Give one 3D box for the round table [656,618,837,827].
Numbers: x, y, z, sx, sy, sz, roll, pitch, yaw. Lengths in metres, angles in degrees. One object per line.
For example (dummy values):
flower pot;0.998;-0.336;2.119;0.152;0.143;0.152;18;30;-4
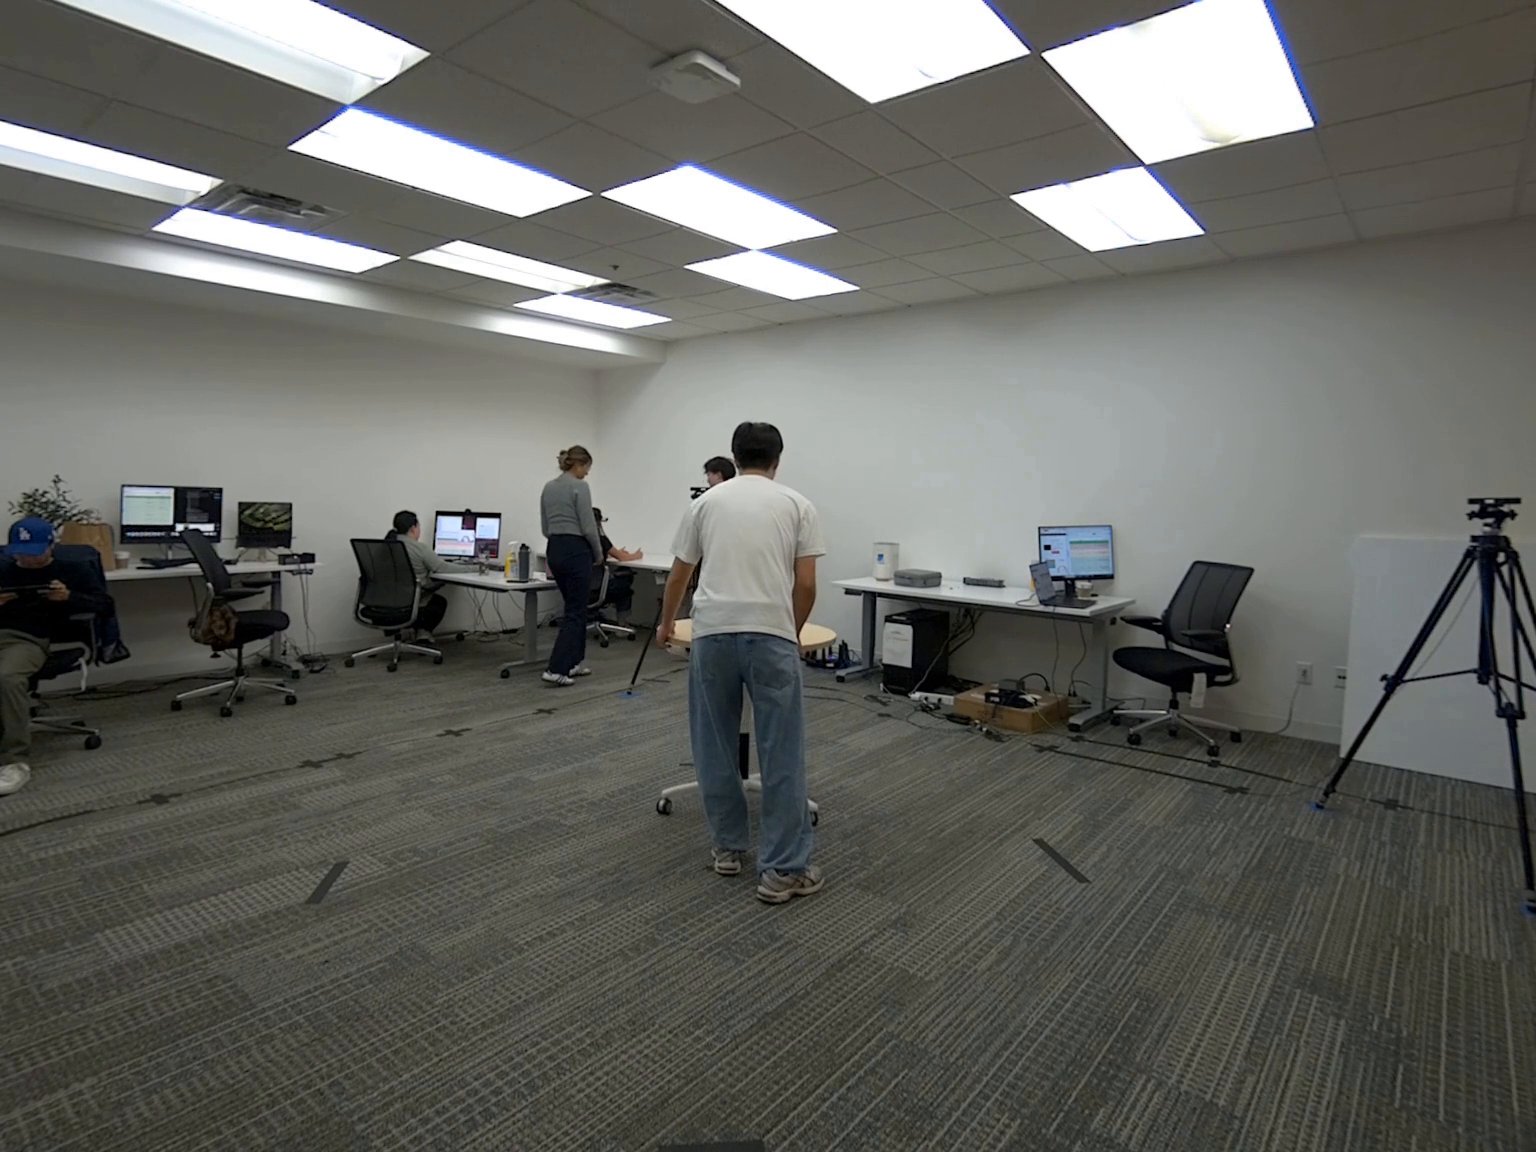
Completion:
round table;-0.103;0.619;3.653;0.784;0.784;0.789;1;4;-2
